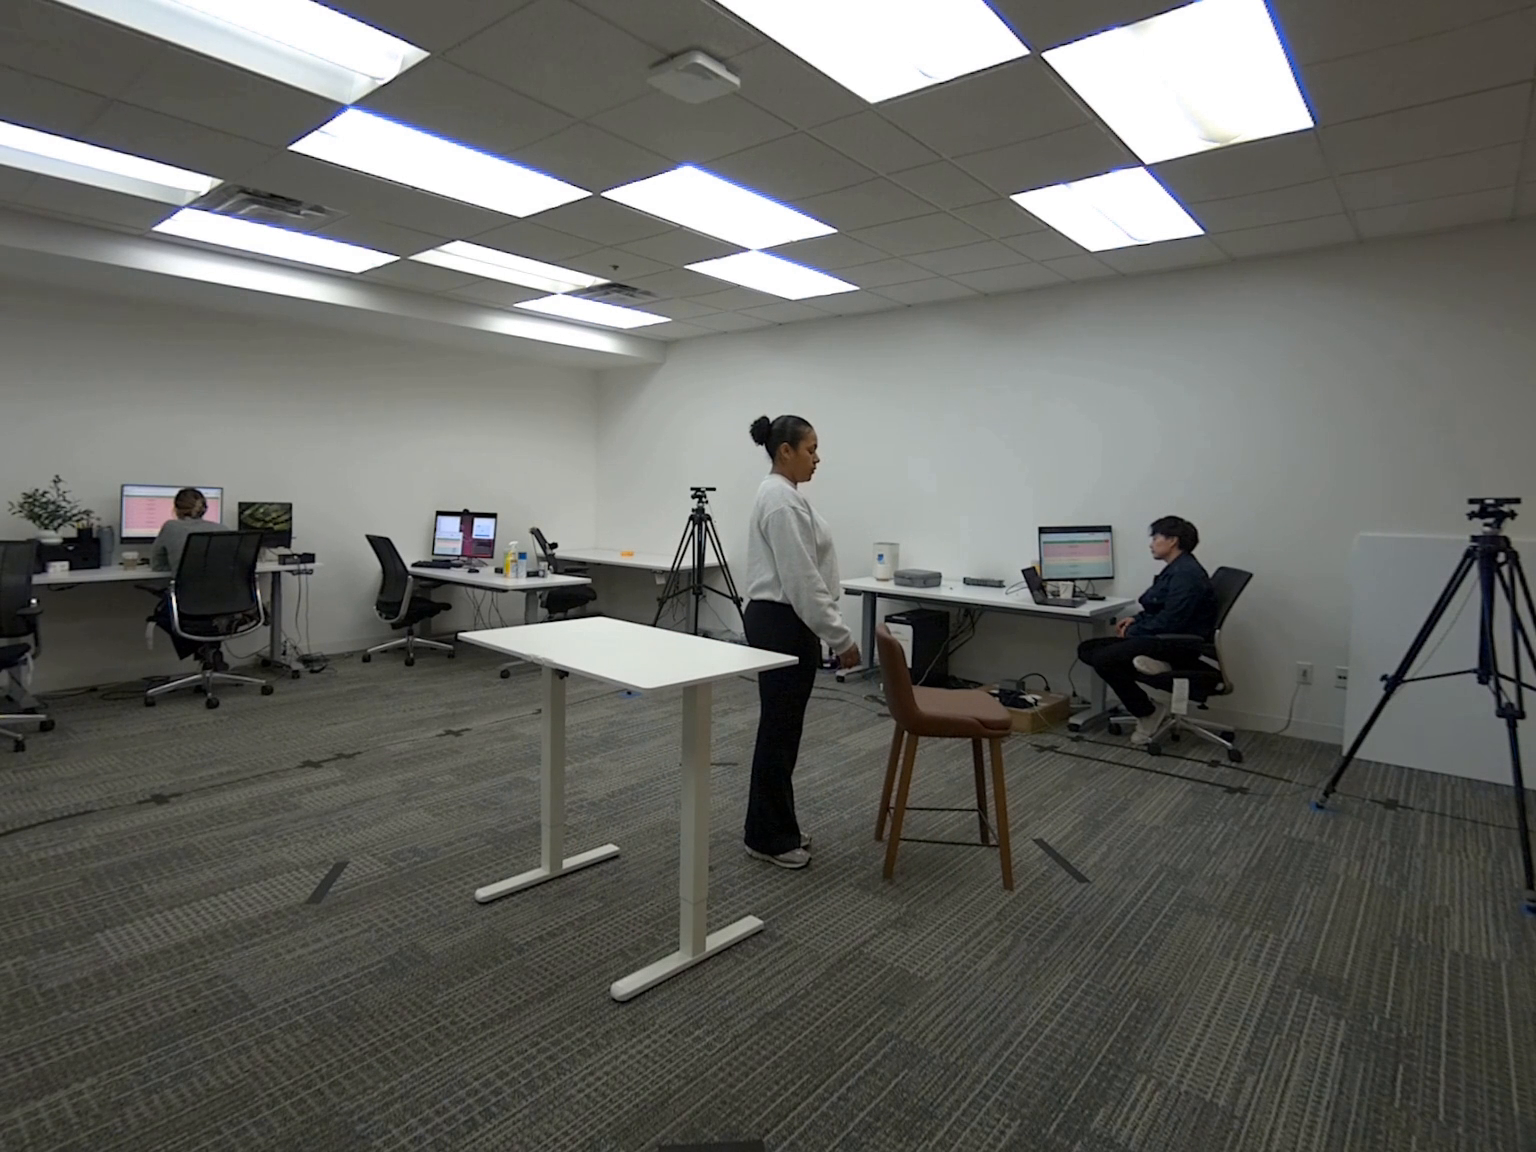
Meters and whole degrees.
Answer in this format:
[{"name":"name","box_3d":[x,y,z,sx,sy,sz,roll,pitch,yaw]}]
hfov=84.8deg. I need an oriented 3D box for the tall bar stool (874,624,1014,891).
[{"name":"tall bar stool","box_3d":[0.644,0.641,3.196,0.470,0.888,0.455,0,2,4]}]
